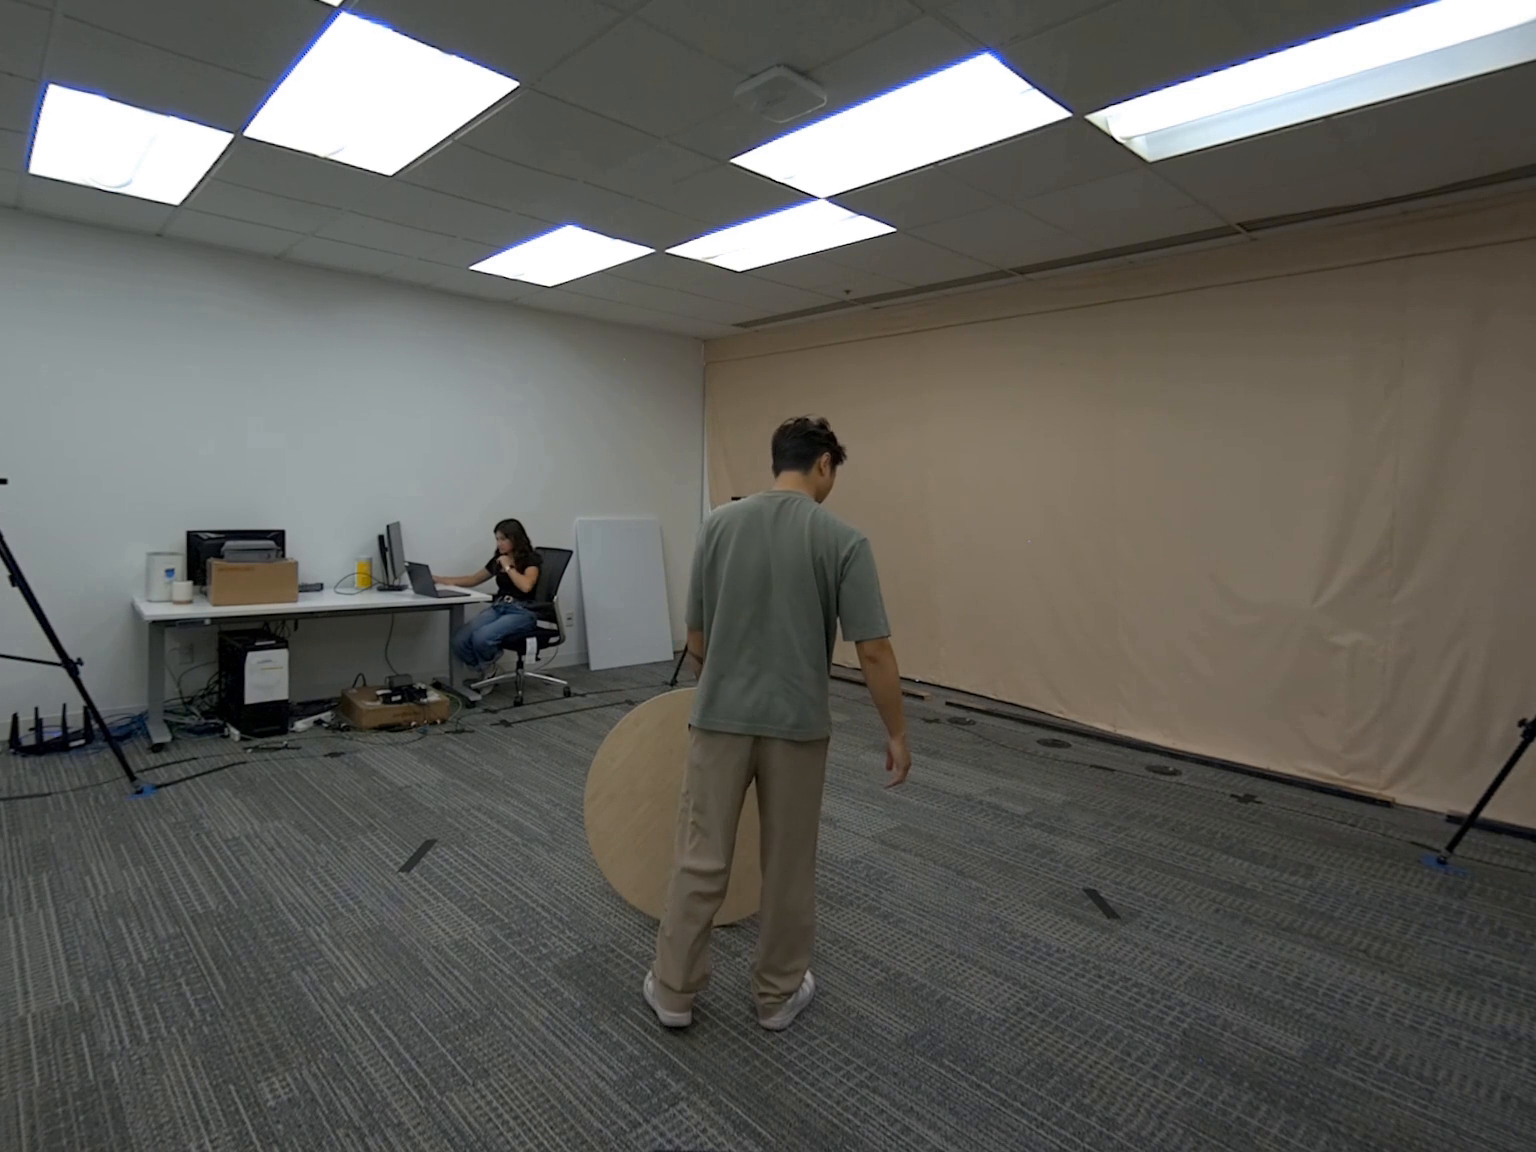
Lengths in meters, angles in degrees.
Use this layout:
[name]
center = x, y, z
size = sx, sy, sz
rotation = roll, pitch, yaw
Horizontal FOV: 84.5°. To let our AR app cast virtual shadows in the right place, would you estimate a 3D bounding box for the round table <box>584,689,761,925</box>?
[round table]
center = -0.254, 0.758, 3.149
size = 0.783, 0.786, 0.787
rotation = 1, -2, -3
